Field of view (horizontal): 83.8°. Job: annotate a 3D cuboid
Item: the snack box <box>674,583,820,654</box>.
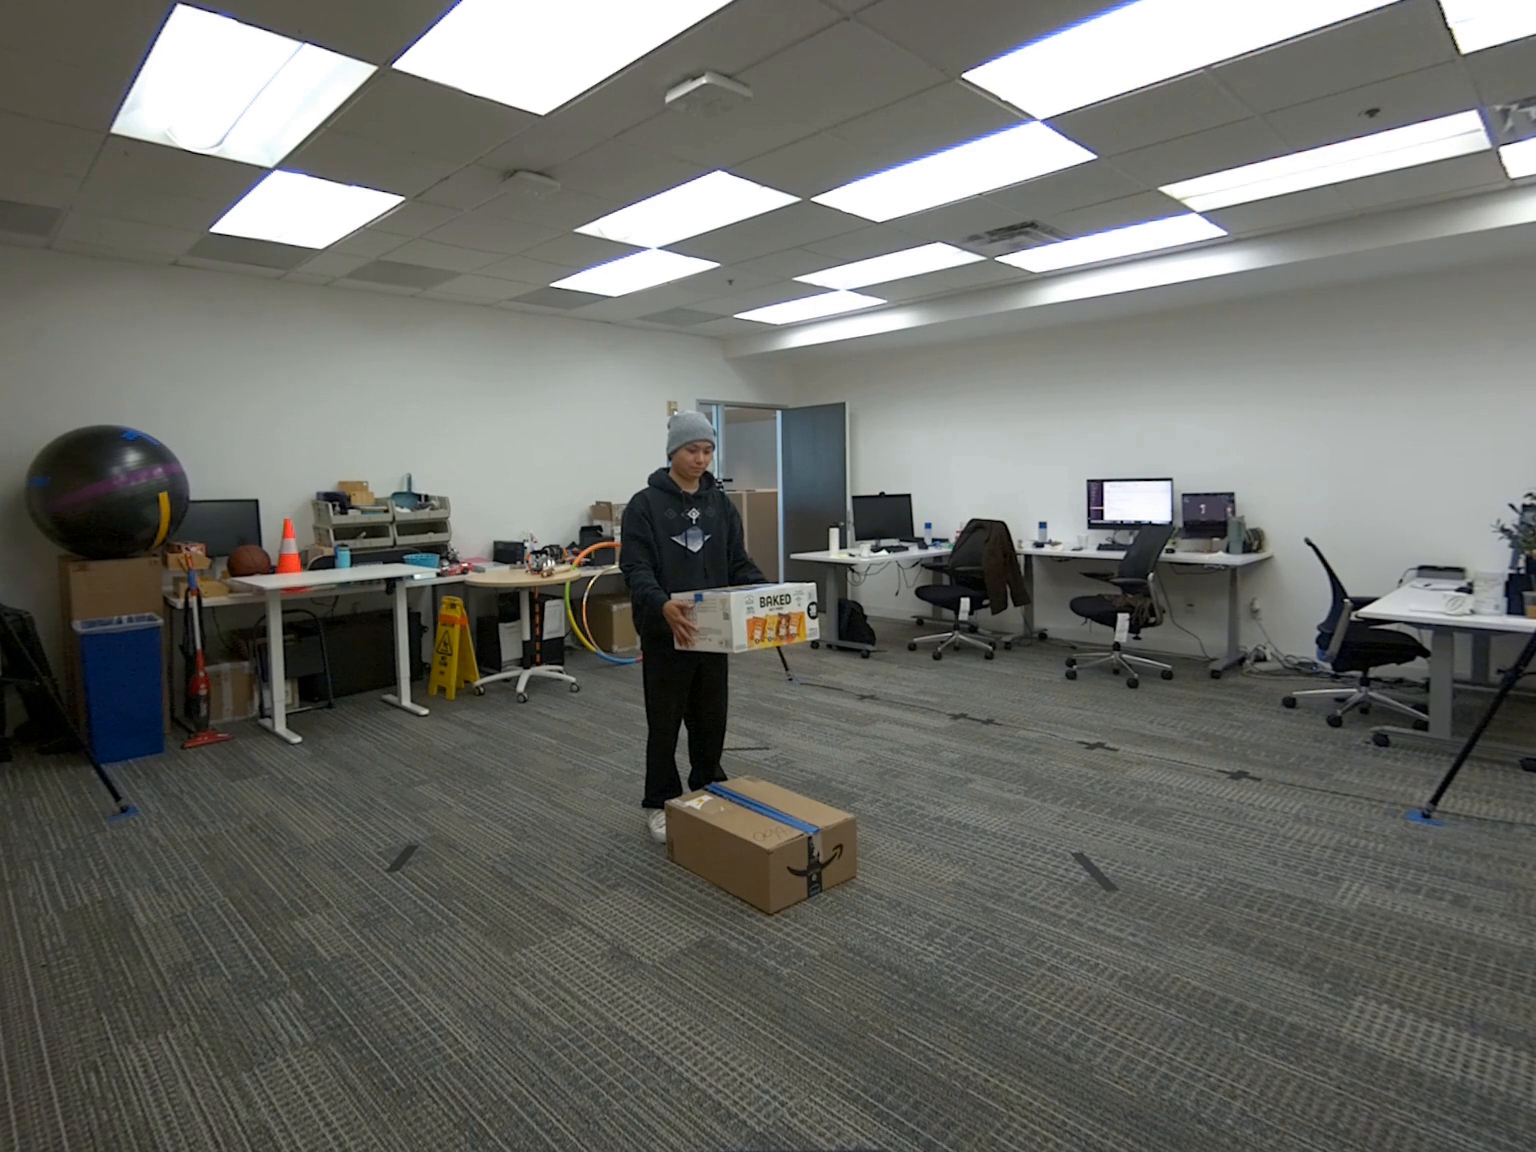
[{"bbox_3d":[-0.080,0.145,3.069,0.394,0.206,0.349,-5,1,-40],"label":"snack box"}]
